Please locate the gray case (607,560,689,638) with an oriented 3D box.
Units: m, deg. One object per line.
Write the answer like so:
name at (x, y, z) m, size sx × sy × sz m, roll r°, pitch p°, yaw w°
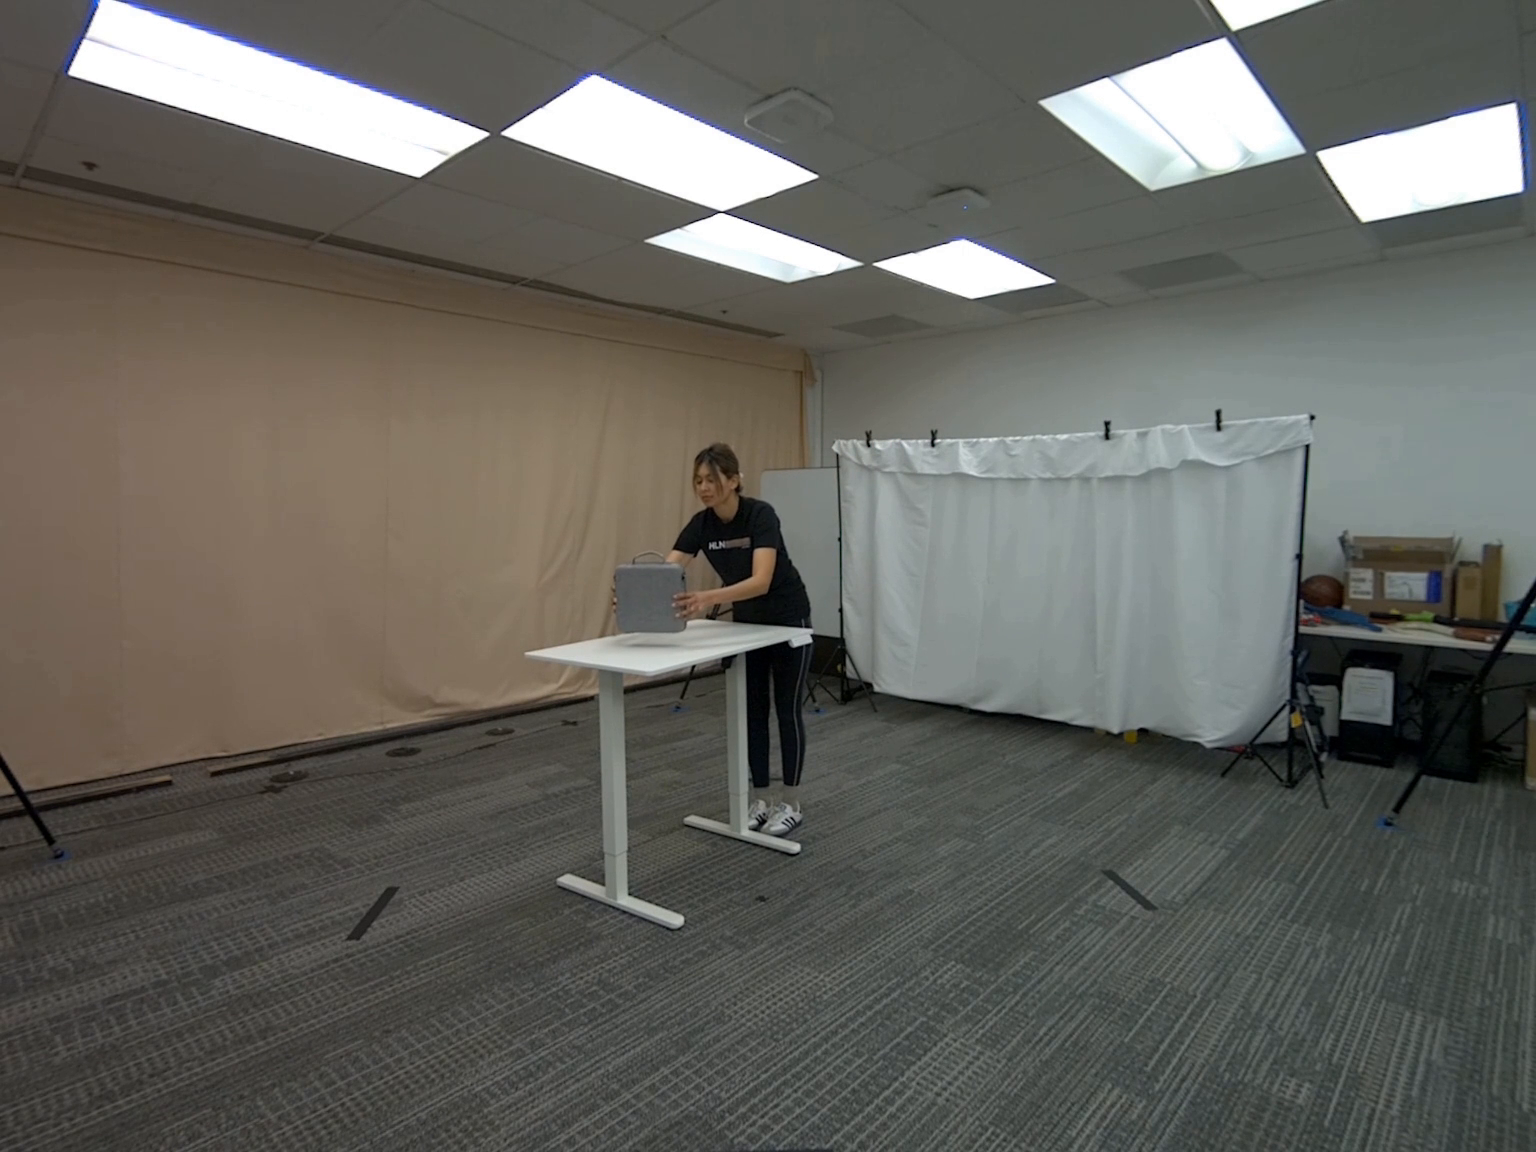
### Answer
gray case at (-0.435, 0.078, 3.061) m, size 0.260 × 0.260 × 0.103 m, roll -3°, pitch 3°, yaw 12°
